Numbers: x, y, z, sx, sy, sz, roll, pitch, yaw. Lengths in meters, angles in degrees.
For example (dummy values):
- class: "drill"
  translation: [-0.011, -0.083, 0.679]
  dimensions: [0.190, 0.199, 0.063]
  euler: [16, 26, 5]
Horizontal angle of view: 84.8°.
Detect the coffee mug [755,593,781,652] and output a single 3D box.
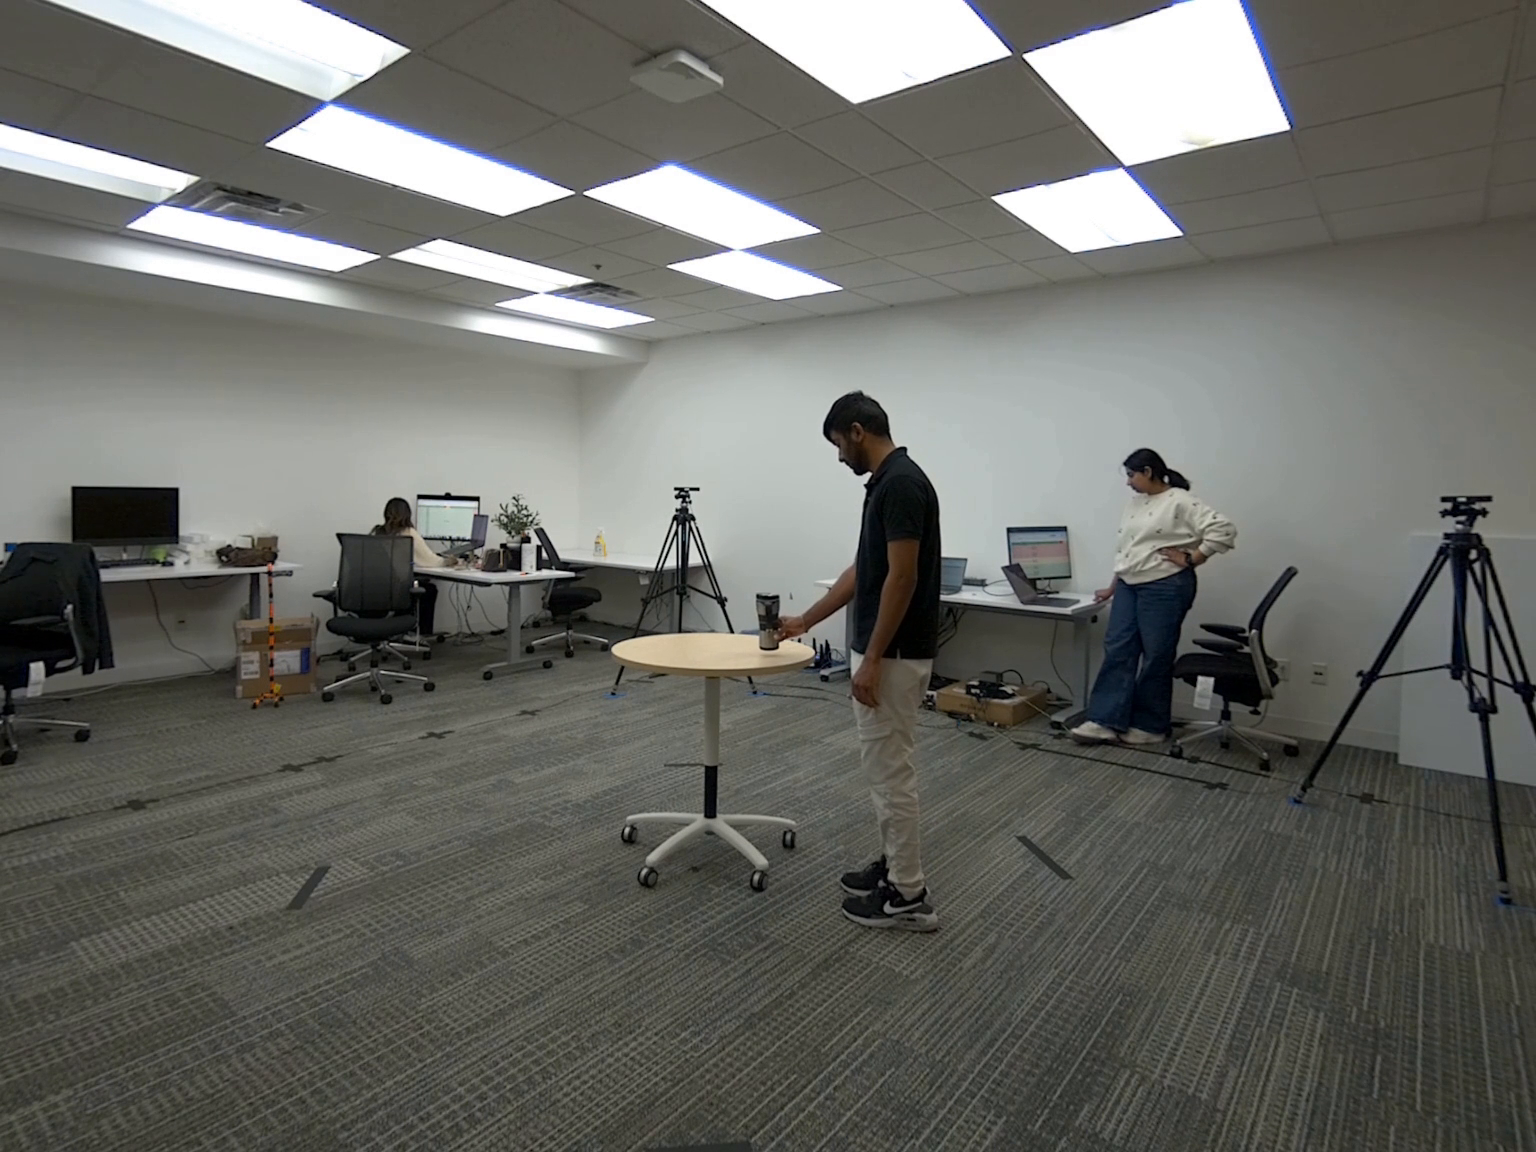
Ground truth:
- class: "coffee mug"
  translation: [-0.019, 0.162, 3.064]
  dimensions: [0.090, 0.202, 0.119]
  euler: [4, 3, 30]
